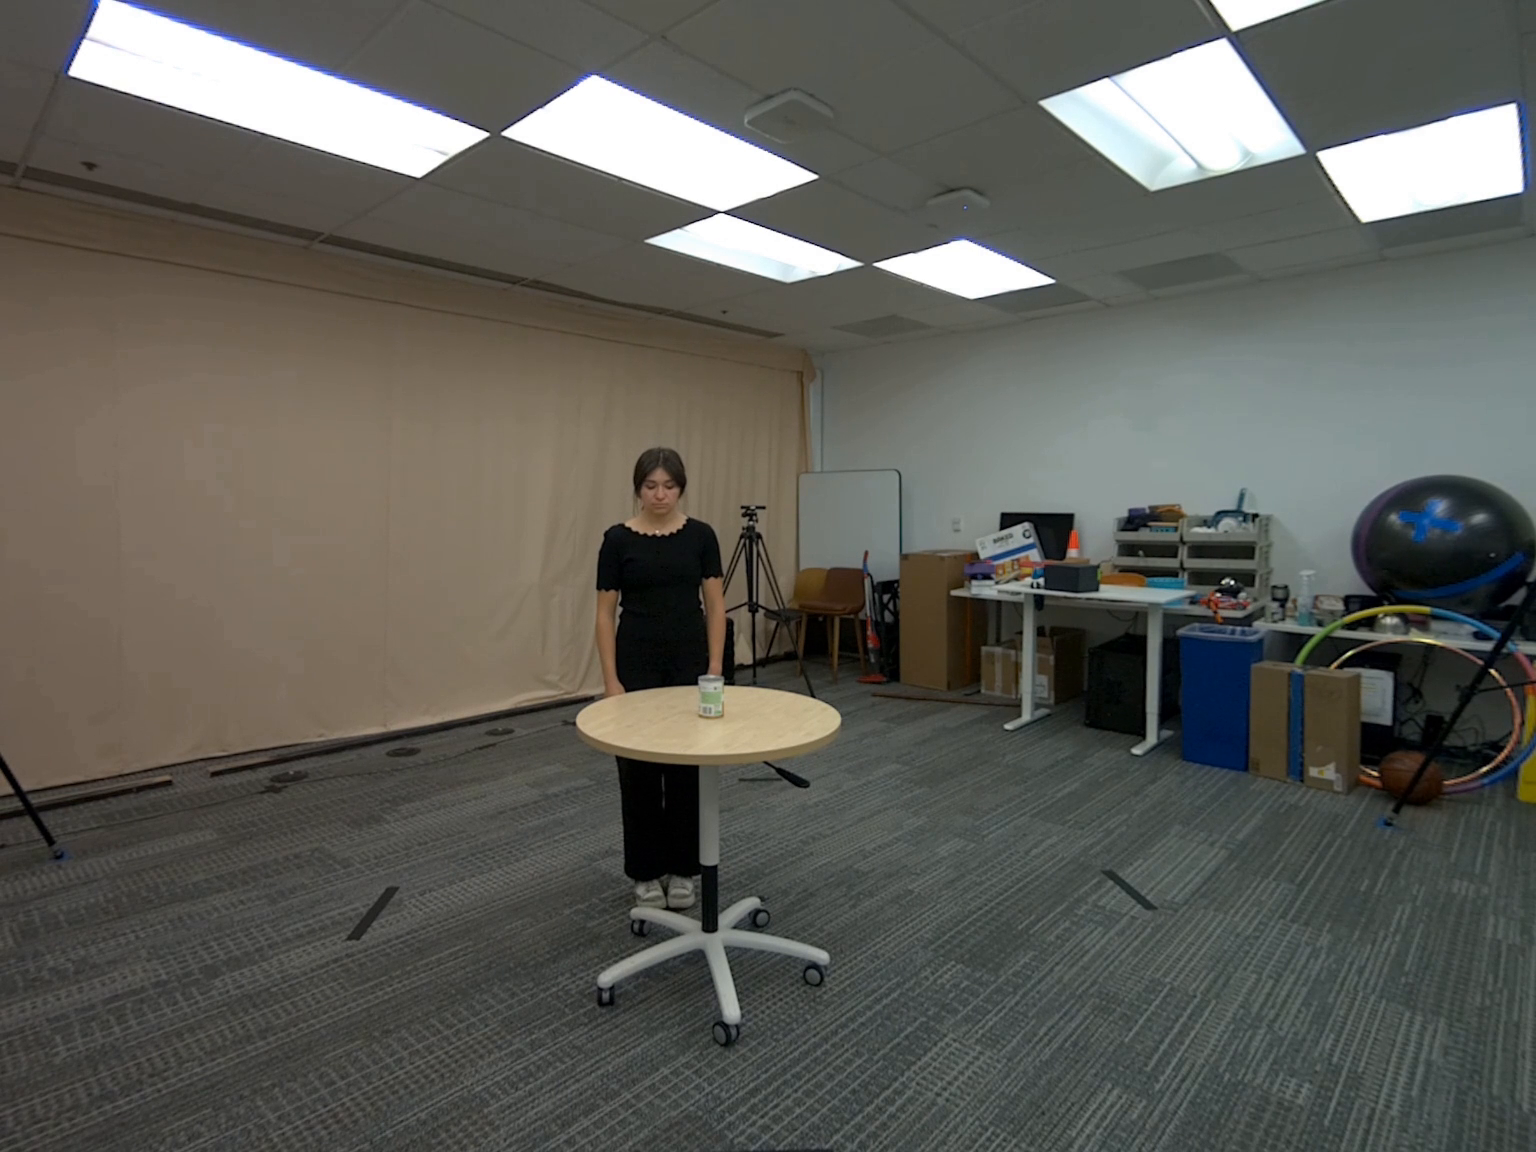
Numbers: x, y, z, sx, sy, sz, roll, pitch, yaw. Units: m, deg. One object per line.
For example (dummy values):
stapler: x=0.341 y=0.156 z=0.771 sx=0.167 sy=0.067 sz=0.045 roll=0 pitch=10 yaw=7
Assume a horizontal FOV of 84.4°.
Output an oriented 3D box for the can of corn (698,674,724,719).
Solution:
can of corn: x=-0.159 y=0.353 z=2.434 sx=0.074 sy=0.111 sz=0.074 roll=-2 pitch=4 yaw=-2
